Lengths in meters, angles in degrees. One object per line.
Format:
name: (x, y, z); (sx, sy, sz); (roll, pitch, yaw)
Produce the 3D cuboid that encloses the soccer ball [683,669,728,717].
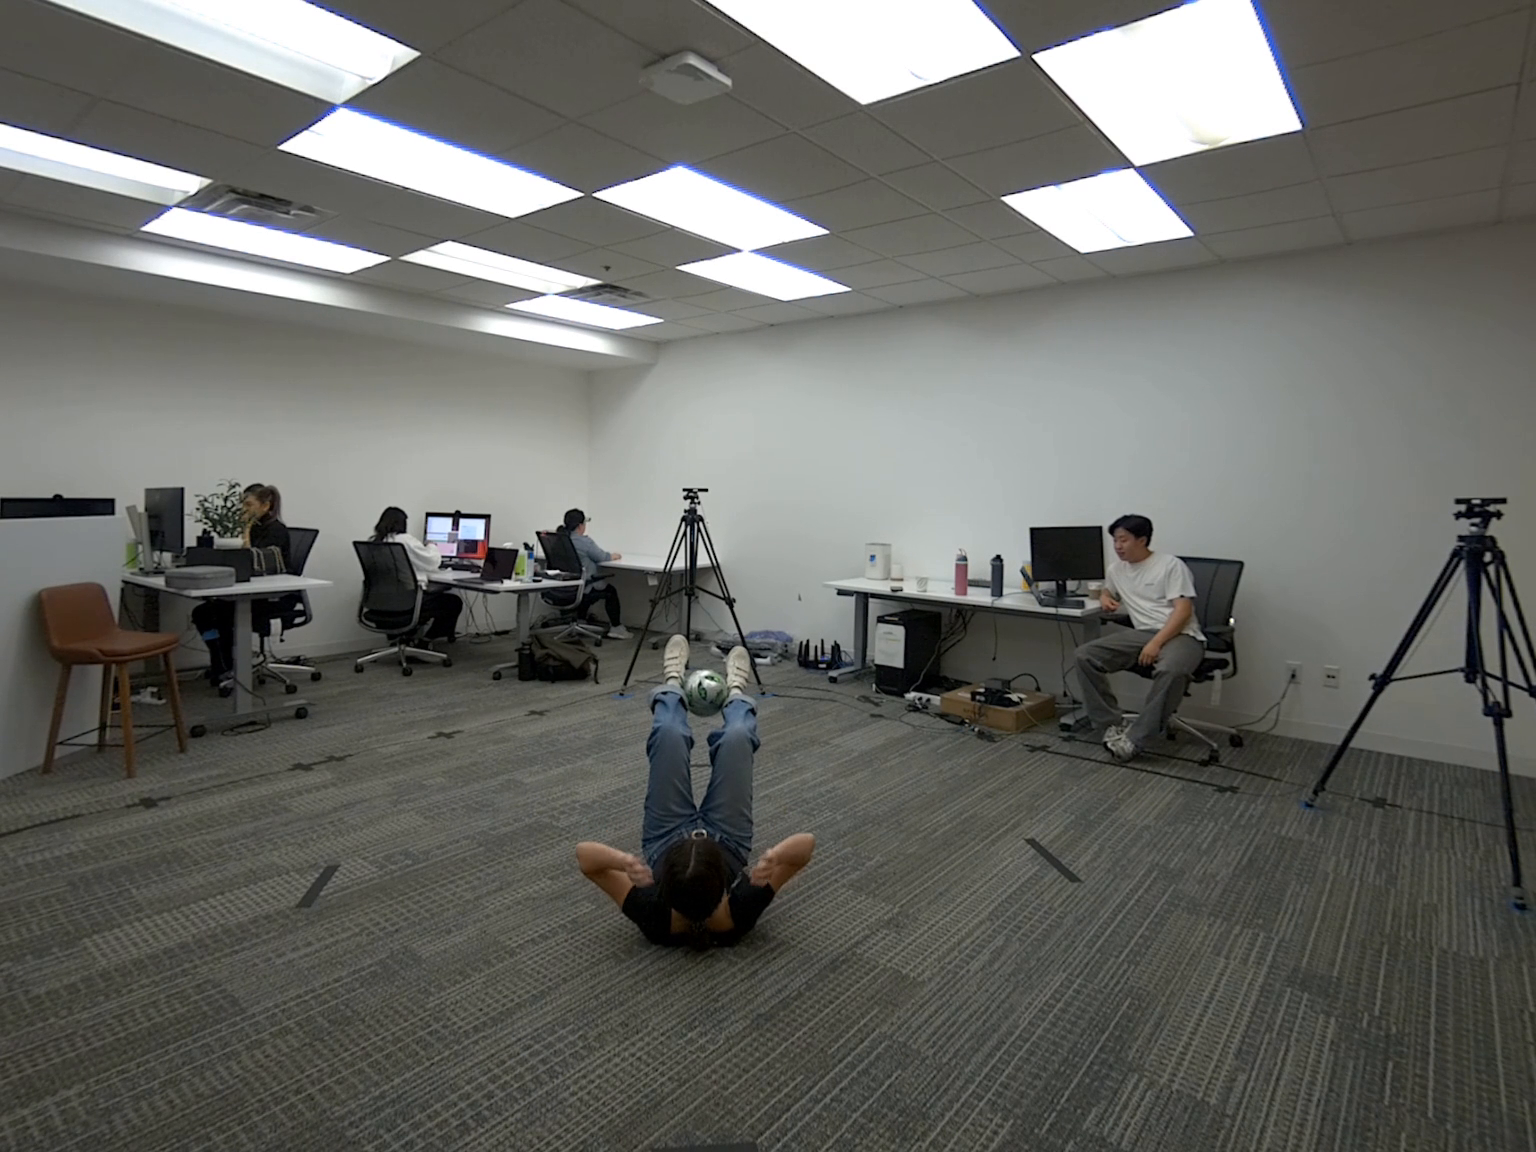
soccer ball: (-0.256, 0.458, 3.378); (0.187, 0.187, 0.188); (-3, 4, -2)
